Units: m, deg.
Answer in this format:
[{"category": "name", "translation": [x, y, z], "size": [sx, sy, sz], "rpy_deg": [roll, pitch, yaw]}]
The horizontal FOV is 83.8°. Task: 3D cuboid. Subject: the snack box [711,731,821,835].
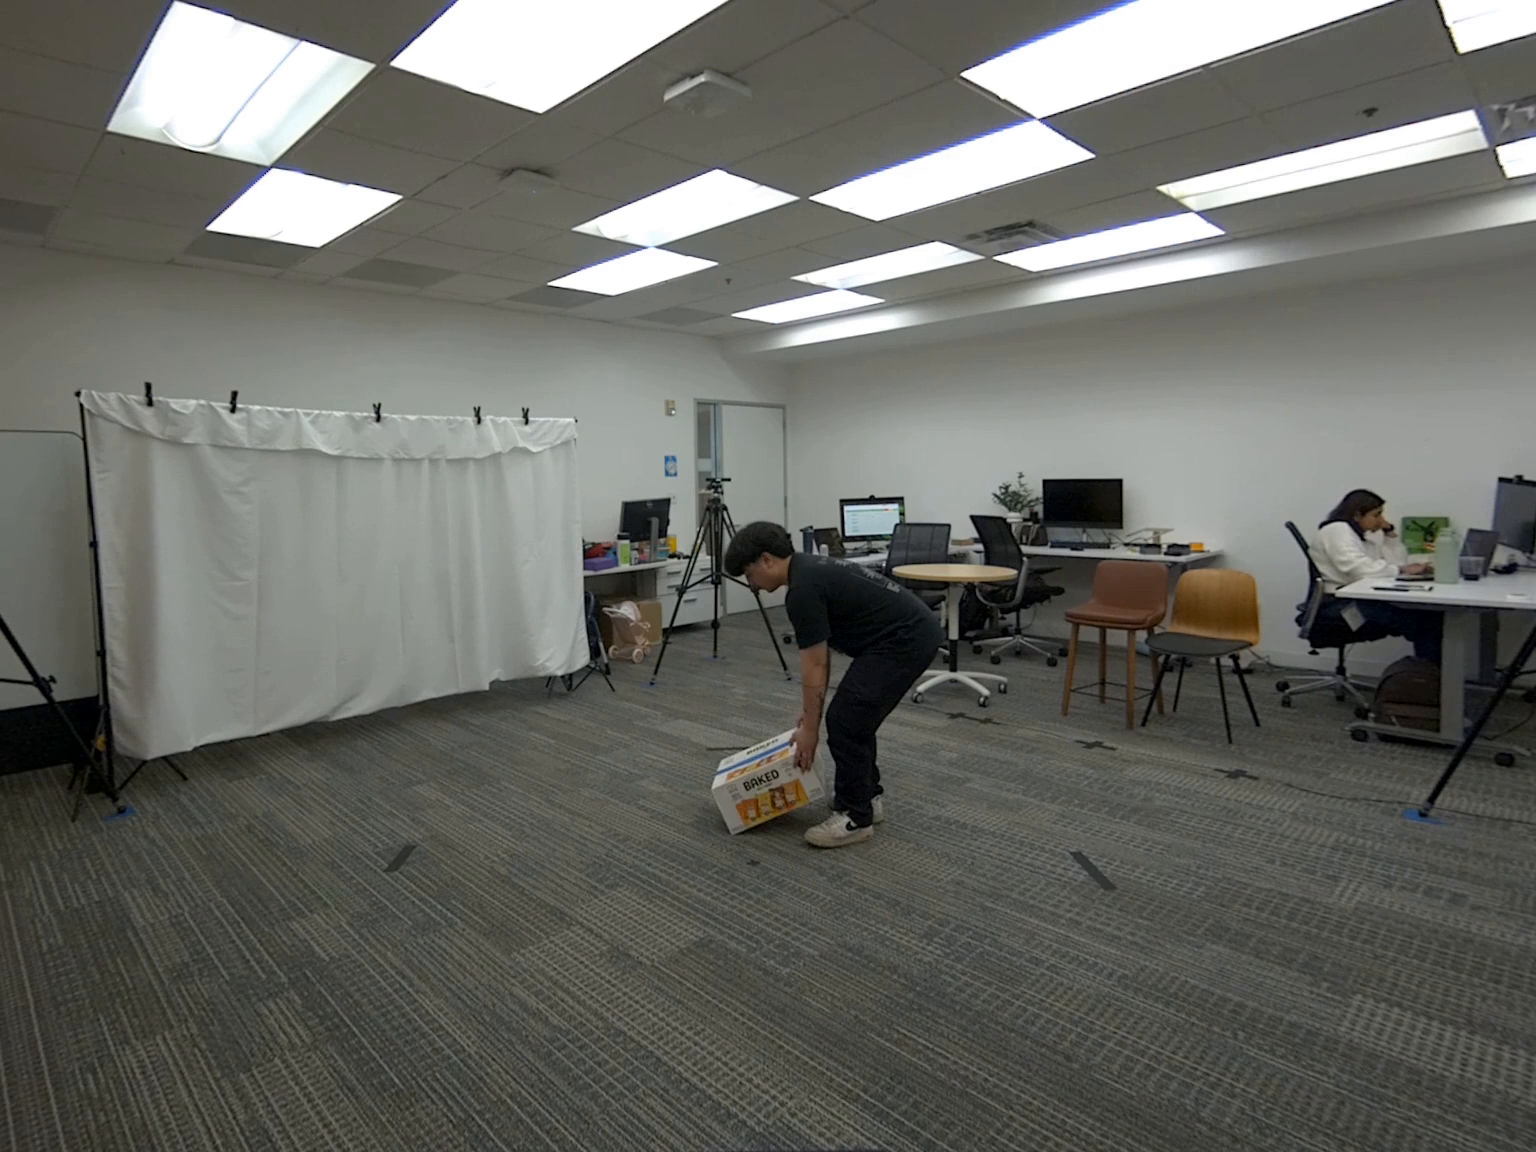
[{"category": "snack box", "translation": [0.007, 0.823, 3.494], "size": [0.406, 0.205, 0.340], "rpy_deg": [-24, 4, 6]}]
